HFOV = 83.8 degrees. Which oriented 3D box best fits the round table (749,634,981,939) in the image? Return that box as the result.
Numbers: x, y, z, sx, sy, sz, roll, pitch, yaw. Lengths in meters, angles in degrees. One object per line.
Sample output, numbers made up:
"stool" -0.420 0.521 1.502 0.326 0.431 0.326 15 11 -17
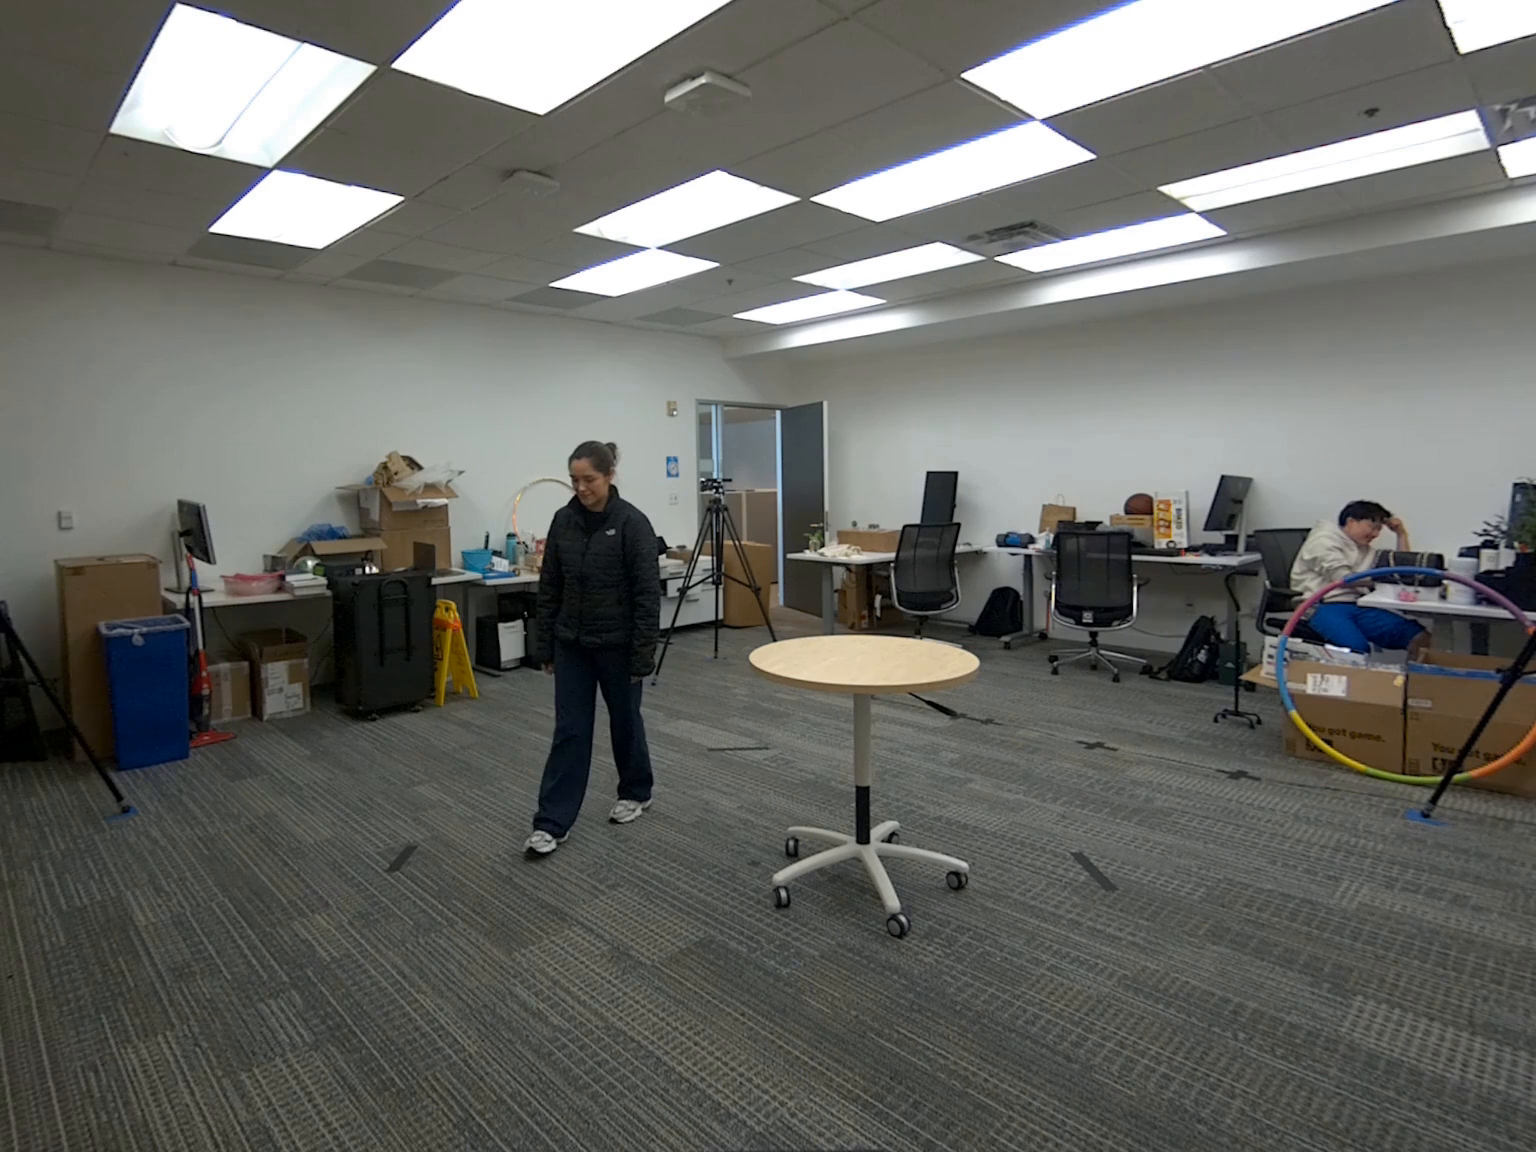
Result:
"round table" 0.315 0.661 2.950 0.784 0.783 0.790 -1 6 -2
